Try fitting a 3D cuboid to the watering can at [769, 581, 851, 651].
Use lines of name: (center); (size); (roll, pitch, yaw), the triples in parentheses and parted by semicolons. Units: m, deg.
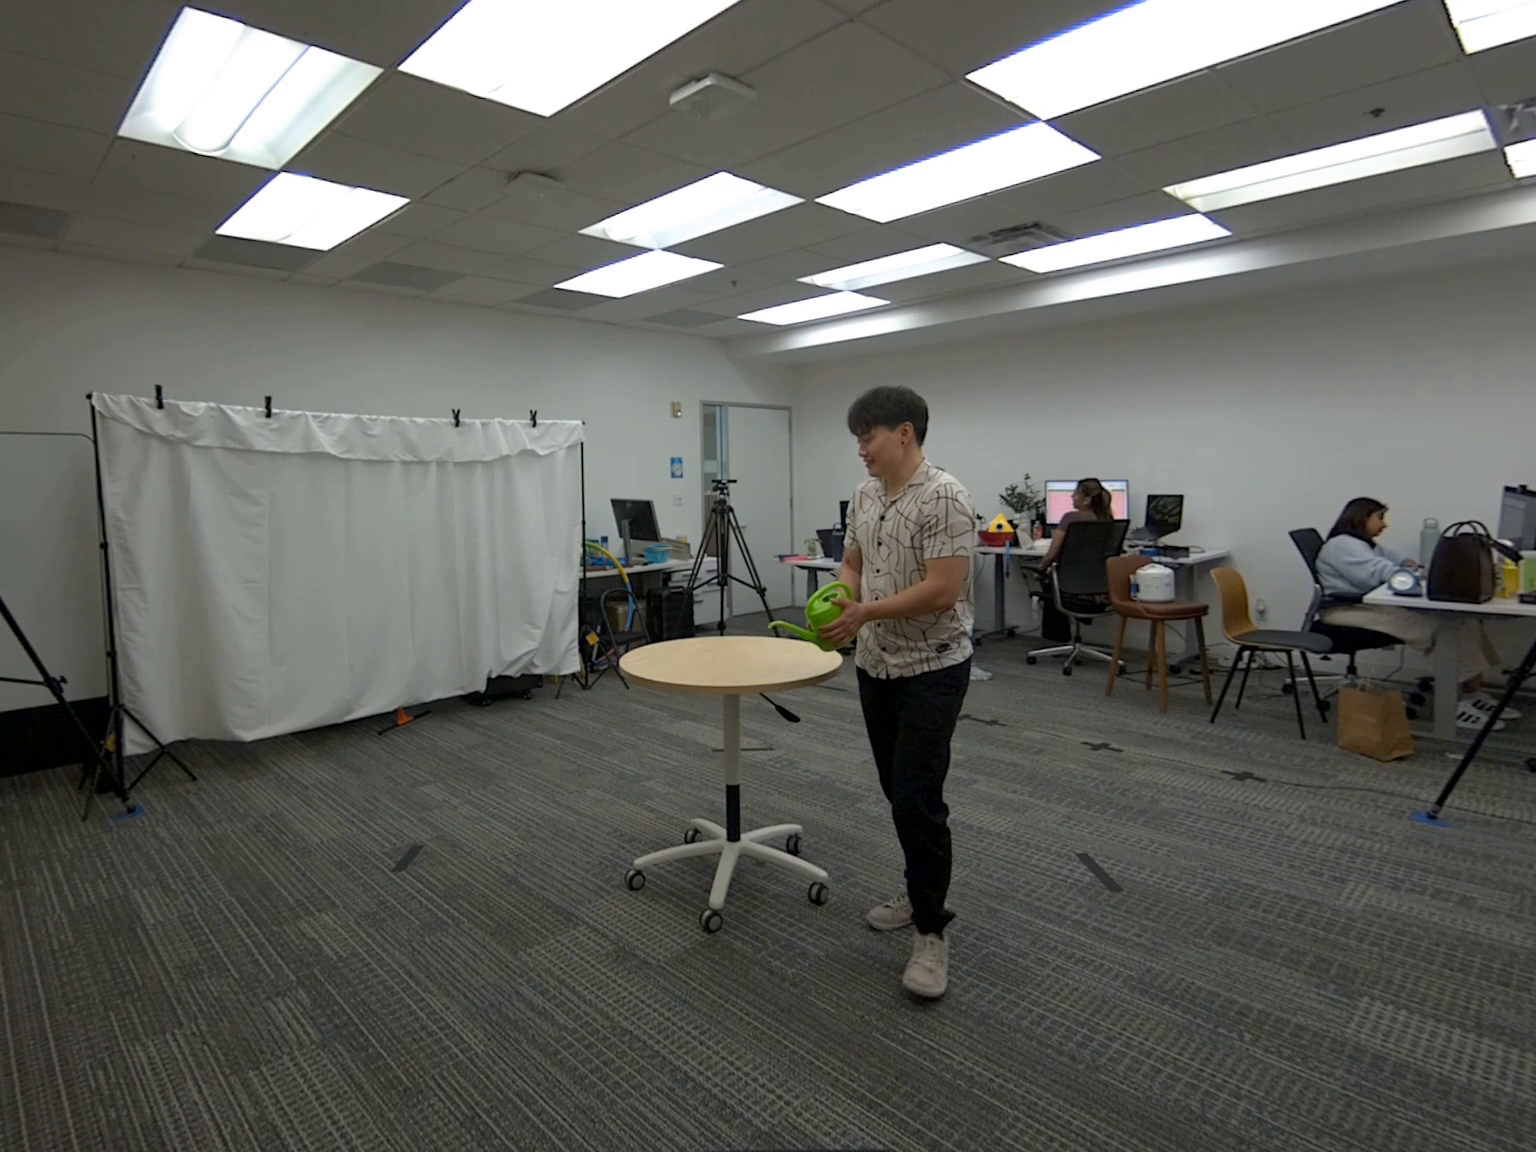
watering can: (0.144, 0.134, 2.486); (0.277, 0.172, 0.101); (-27, 23, -7)
